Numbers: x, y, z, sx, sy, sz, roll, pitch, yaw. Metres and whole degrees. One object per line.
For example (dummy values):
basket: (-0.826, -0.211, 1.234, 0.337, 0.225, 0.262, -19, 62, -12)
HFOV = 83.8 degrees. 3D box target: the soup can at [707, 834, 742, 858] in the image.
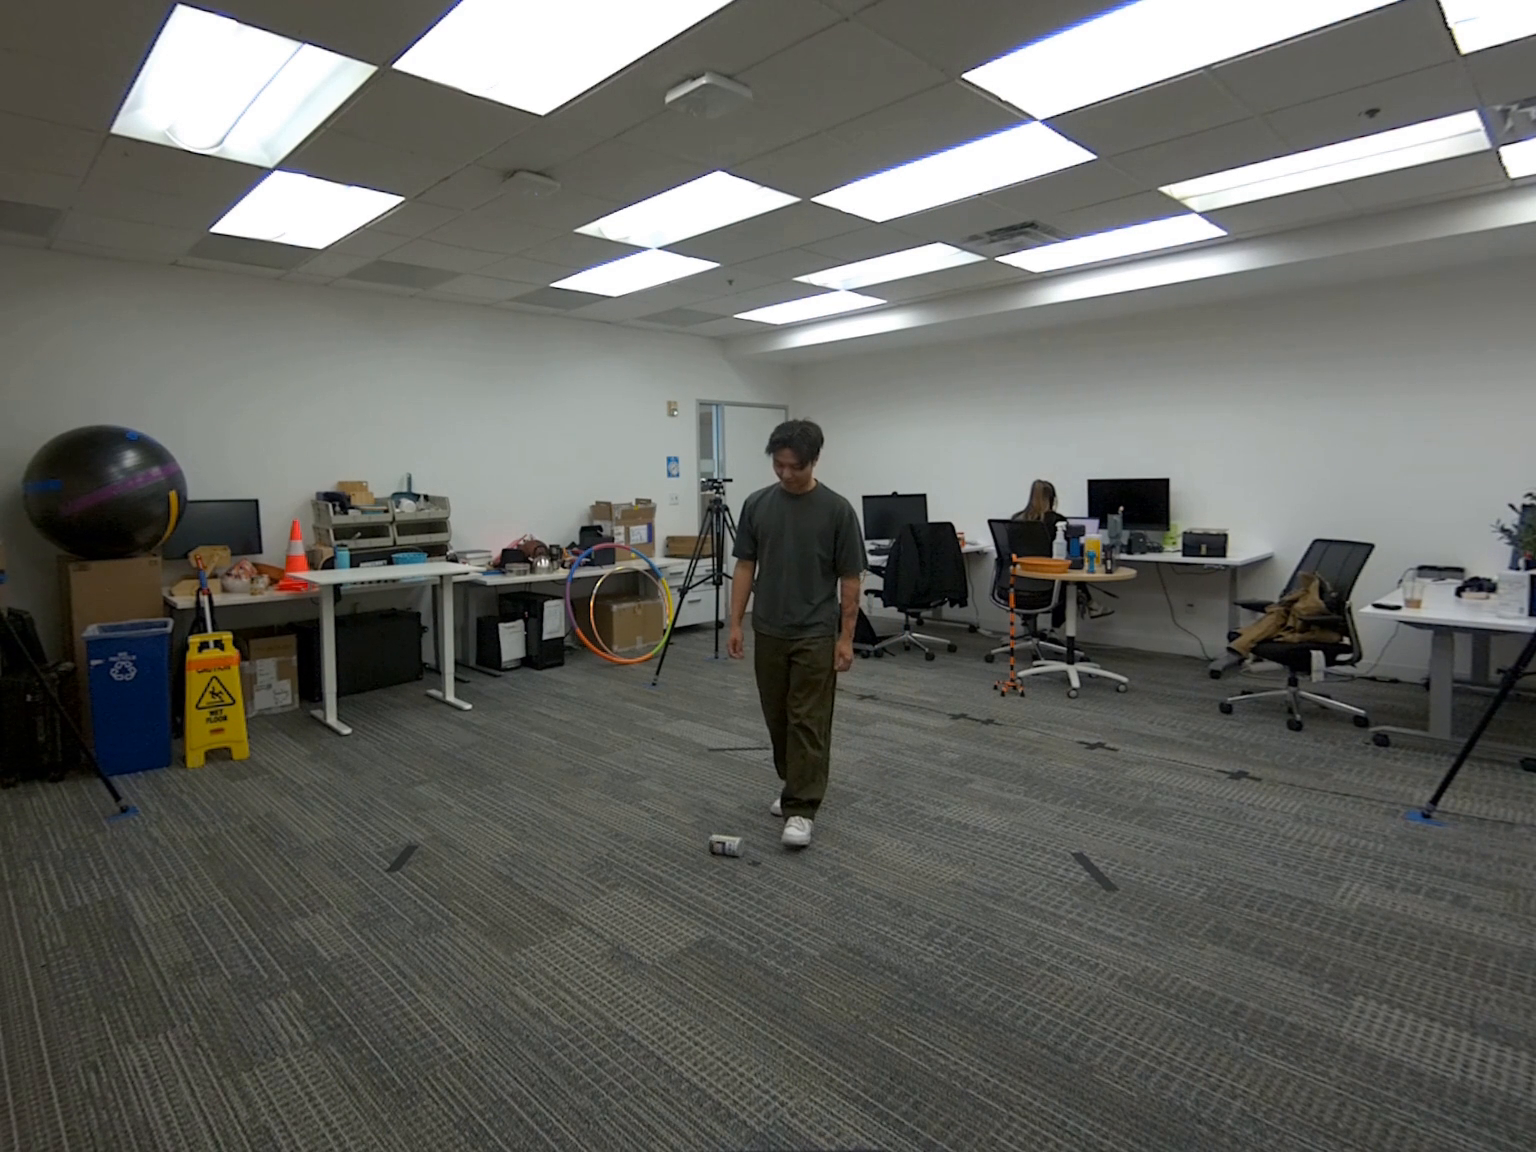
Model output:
soup can: (-0.153, 1.001, 3.184, 0.124, 0.067, 0.066, -1, 4, 19)
